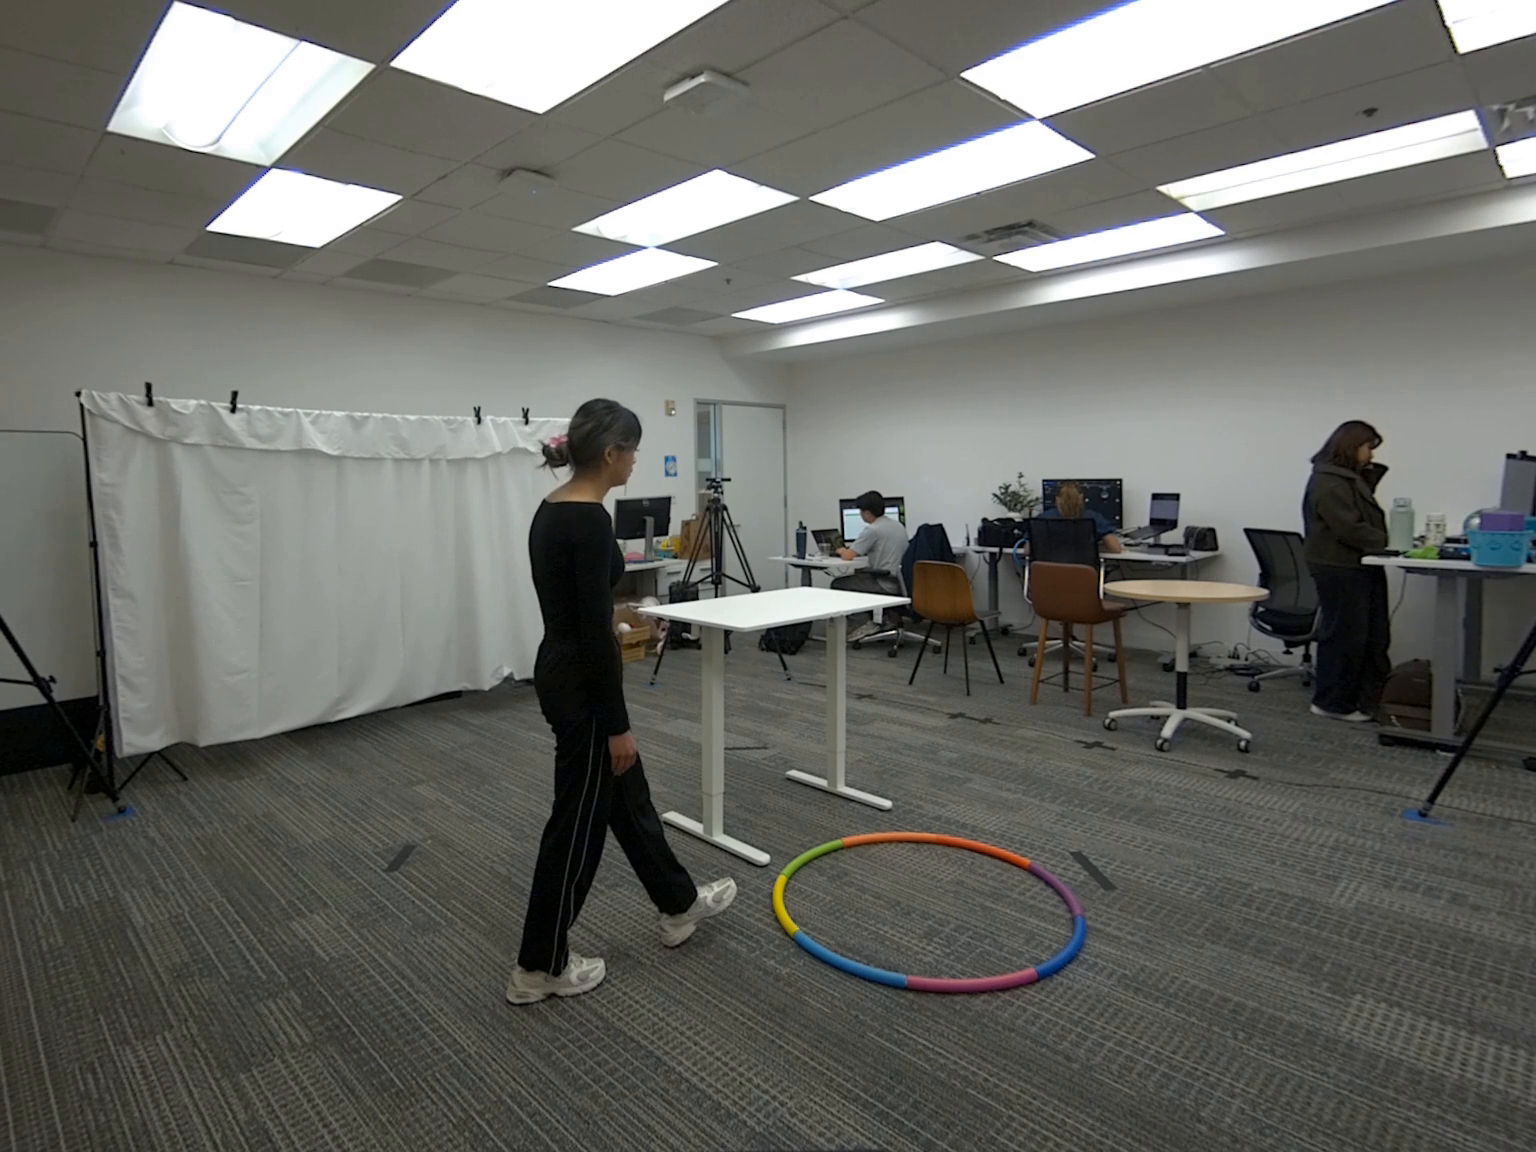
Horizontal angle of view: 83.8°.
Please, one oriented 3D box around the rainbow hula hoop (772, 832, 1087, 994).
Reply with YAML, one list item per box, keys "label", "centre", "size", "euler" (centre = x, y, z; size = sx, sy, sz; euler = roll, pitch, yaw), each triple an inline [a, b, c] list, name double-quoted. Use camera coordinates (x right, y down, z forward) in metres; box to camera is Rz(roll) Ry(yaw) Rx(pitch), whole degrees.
- label: "rainbow hula hoop"
  centre: [0.505, 1.040, 2.794]
  size: [0.978, 0.035, 0.984]
  euler: [-1, 7, -2]
